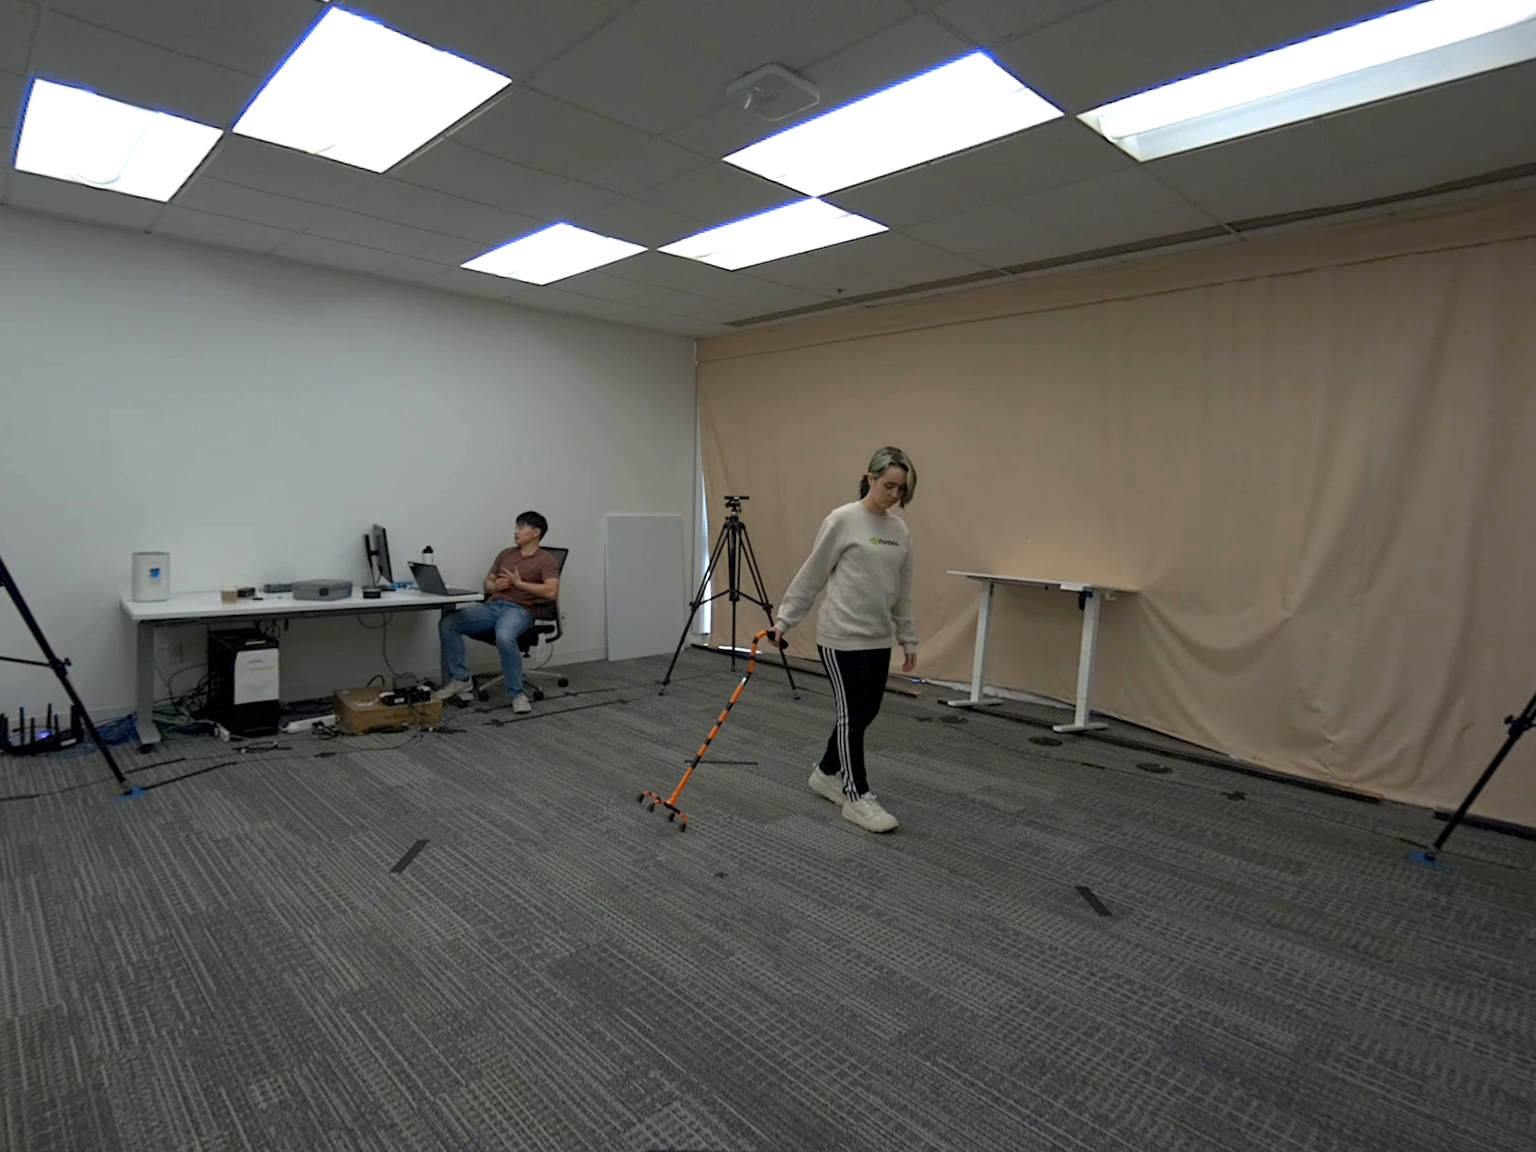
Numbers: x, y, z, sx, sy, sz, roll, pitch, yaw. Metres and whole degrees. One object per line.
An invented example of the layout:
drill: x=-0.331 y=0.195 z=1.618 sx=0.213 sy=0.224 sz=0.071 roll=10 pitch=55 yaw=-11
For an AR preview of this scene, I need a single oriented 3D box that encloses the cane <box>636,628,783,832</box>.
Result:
cane: x=-0.235 y=0.630 z=3.613 sx=0.202 sy=0.910 sz=0.155 roll=37 pitch=-13 yaw=-23
